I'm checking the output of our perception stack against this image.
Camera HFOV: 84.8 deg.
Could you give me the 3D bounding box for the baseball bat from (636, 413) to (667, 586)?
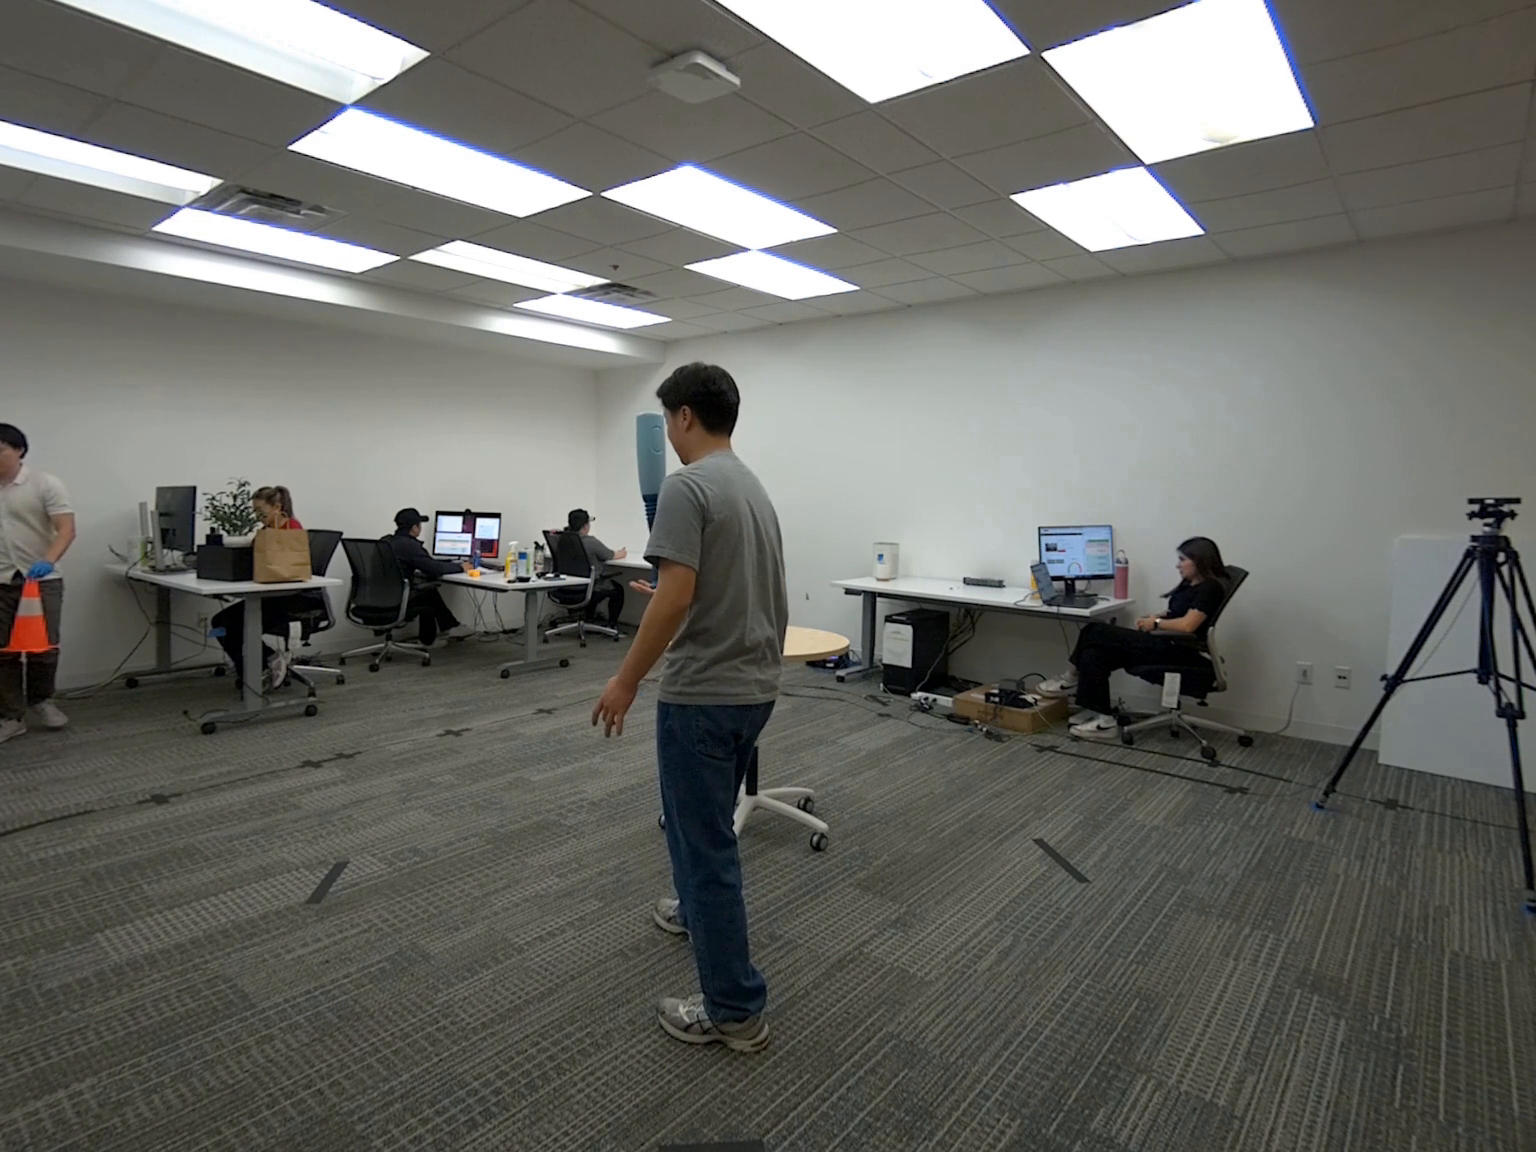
[{"bbox_3d":[-0.360,-0.237,2.574,0.089,0.544,0.089,-3,-2,-2],"label":"baseball bat"}]
